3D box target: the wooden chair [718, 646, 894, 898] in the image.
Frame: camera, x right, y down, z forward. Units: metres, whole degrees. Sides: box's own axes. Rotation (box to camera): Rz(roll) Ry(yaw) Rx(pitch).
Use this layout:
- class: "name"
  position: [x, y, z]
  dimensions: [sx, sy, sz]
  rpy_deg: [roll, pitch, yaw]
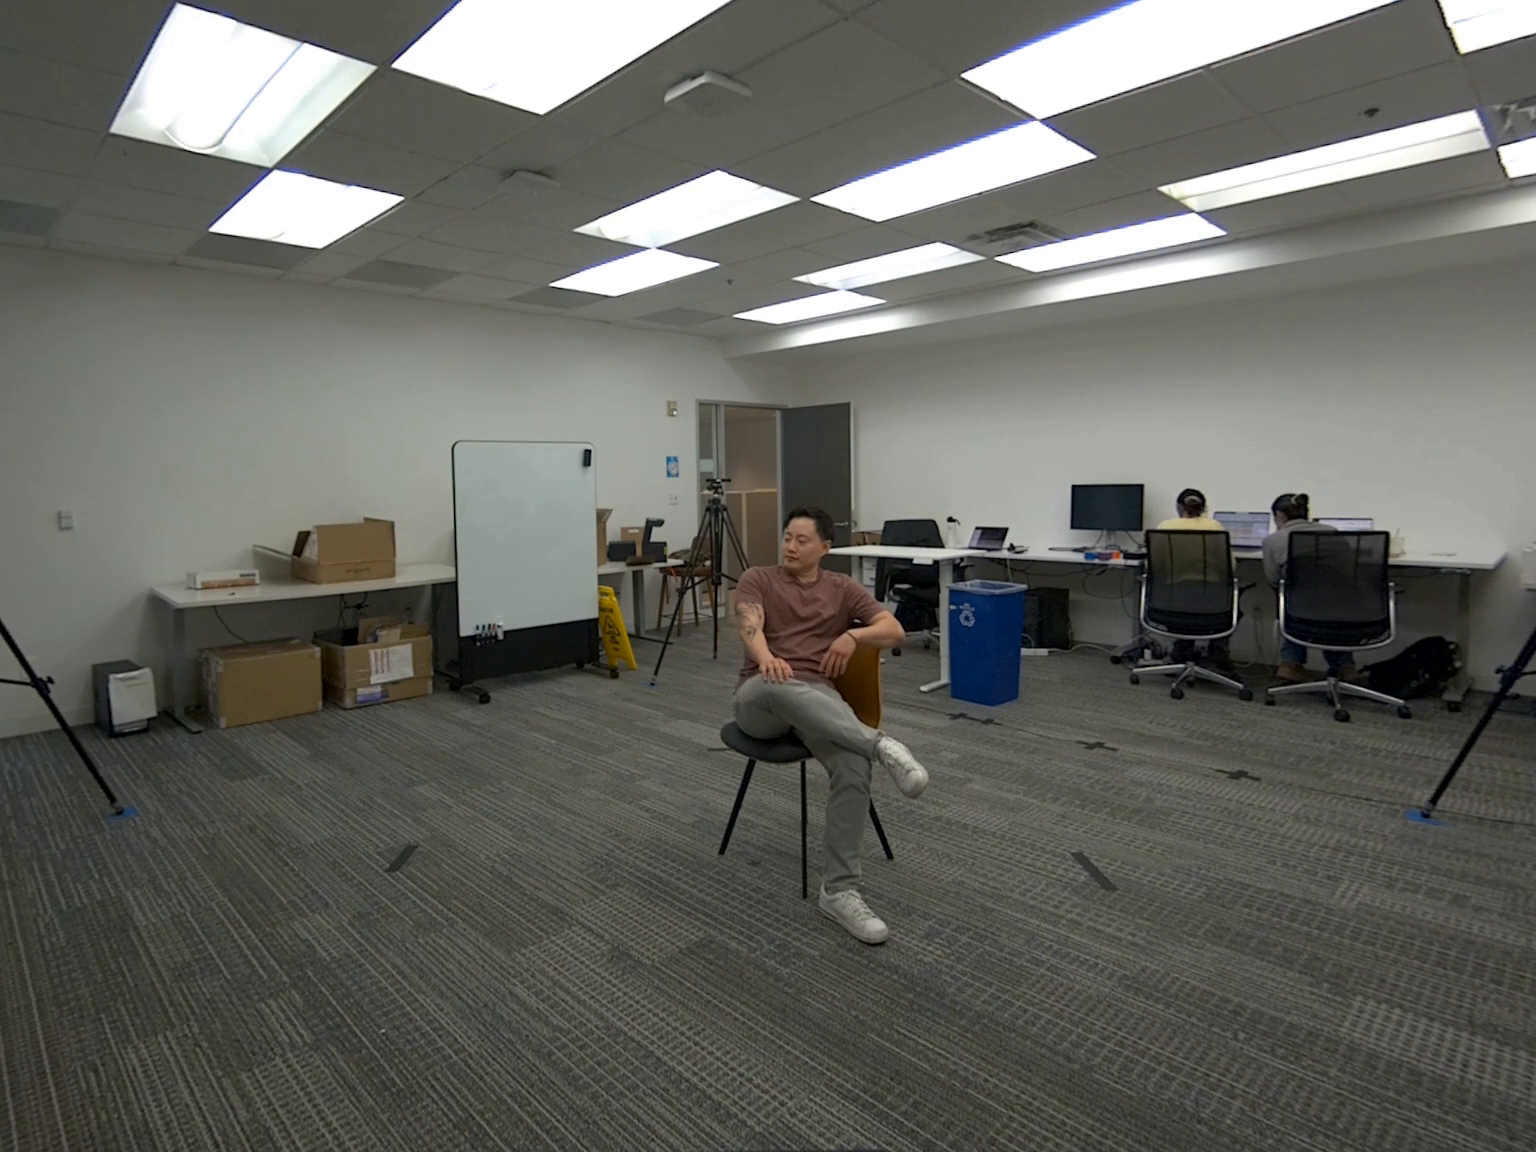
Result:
- class: "wooden chair"
  position: [0.125, 0.613, 3.117]
  dimensions: [0.508, 0.877, 0.493]
  rpy_deg: [1, 2, -41]
